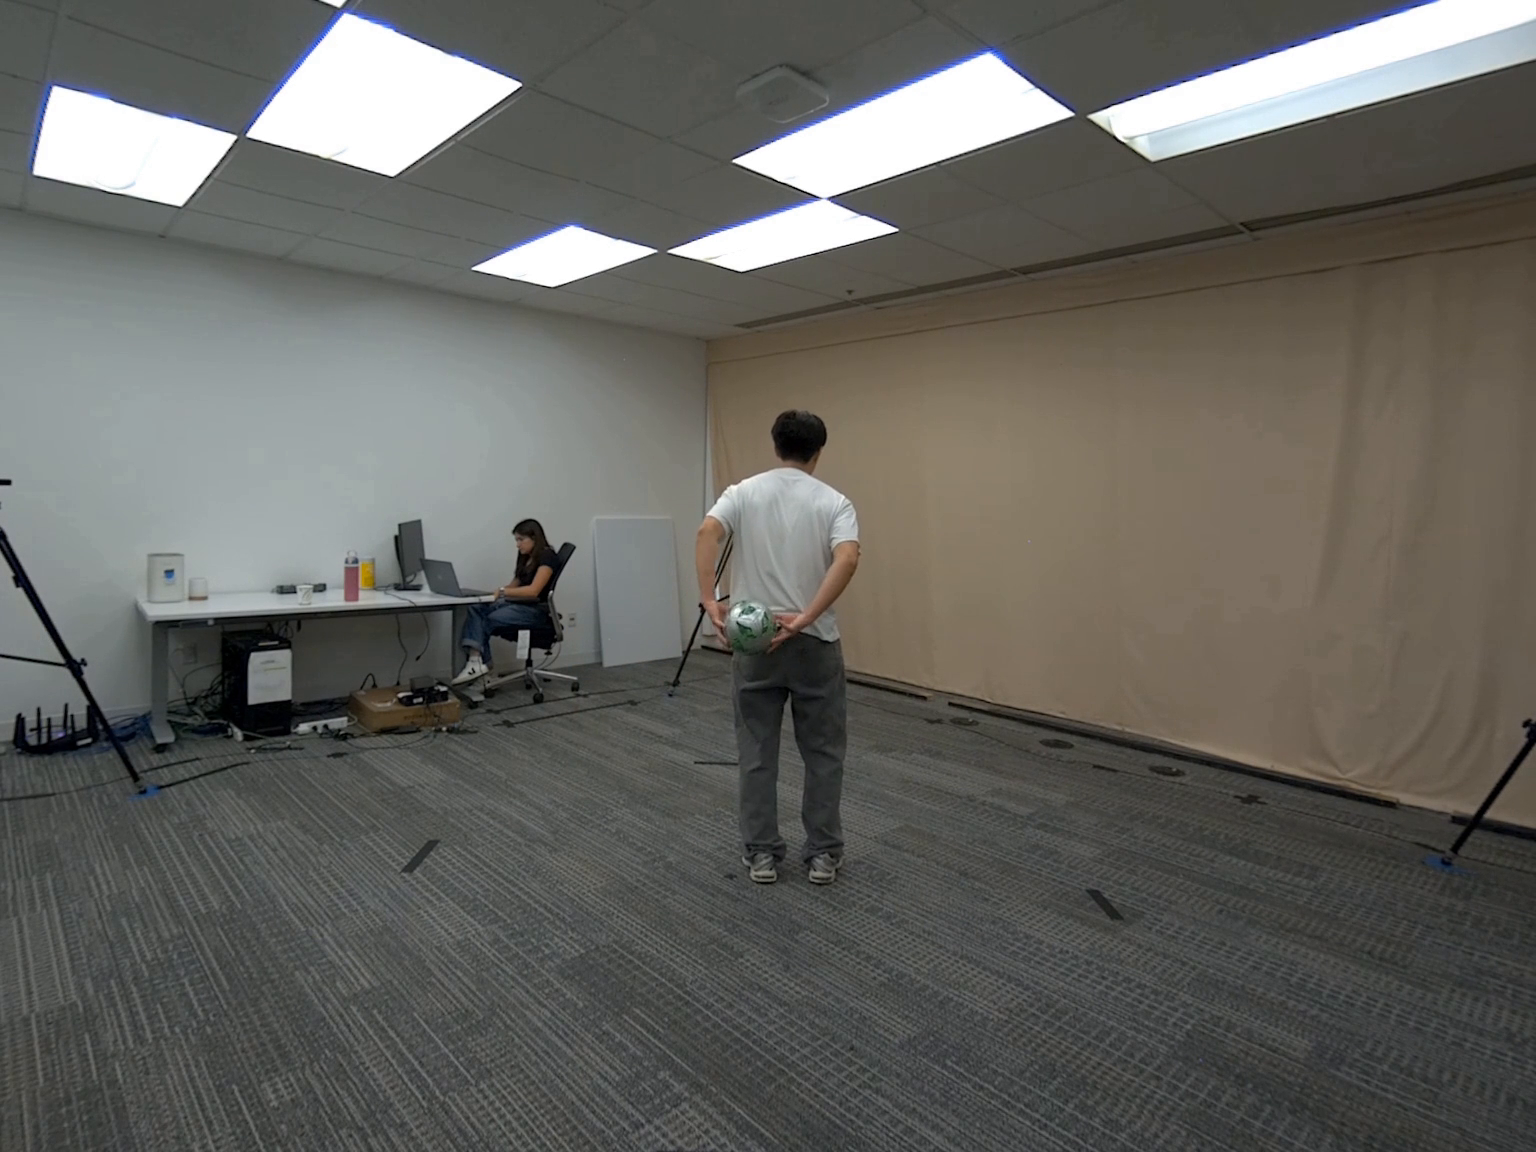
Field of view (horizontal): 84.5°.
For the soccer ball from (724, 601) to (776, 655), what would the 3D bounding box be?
[{"bbox_3d":[-0.068,0.179,2.846,0.187,0.187,0.188,1,4,-1],"label":"soccer ball"}]
